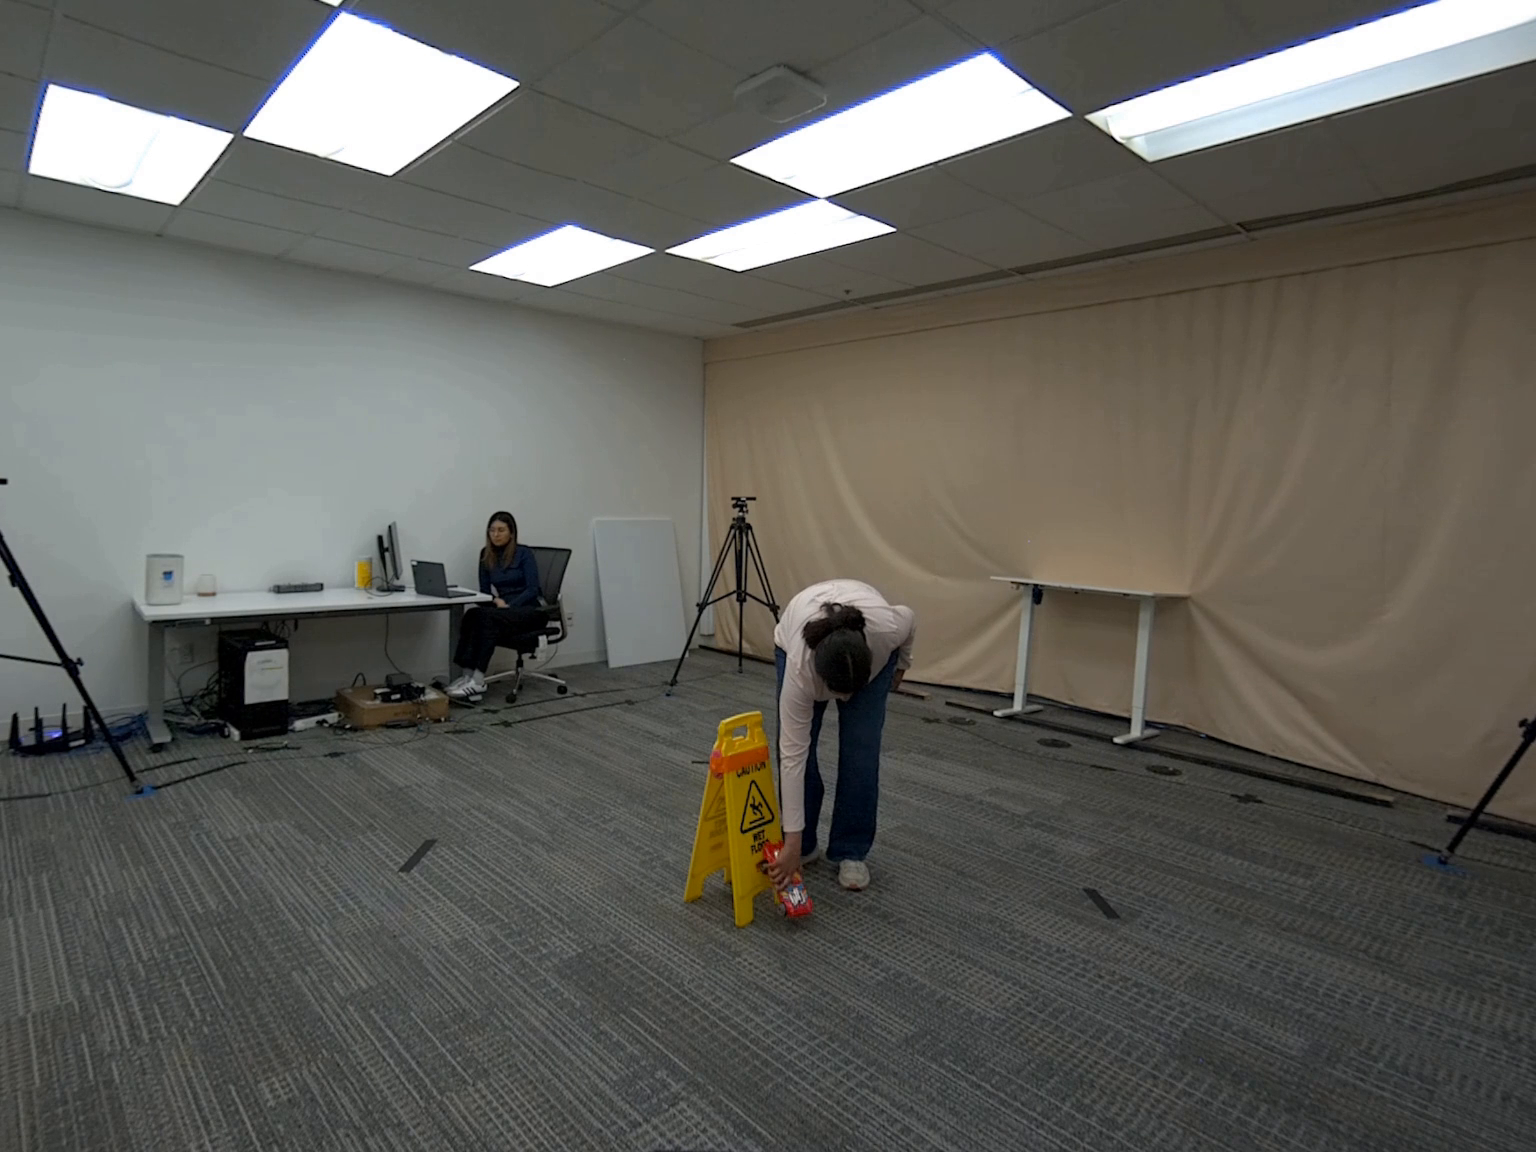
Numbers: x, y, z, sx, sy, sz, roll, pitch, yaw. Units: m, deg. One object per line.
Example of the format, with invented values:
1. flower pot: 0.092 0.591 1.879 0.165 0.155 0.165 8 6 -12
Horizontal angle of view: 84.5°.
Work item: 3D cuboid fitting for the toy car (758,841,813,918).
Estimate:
1. toy car: 0.040 1.006 2.785 0.127 0.261 0.083 11 -41 -34
